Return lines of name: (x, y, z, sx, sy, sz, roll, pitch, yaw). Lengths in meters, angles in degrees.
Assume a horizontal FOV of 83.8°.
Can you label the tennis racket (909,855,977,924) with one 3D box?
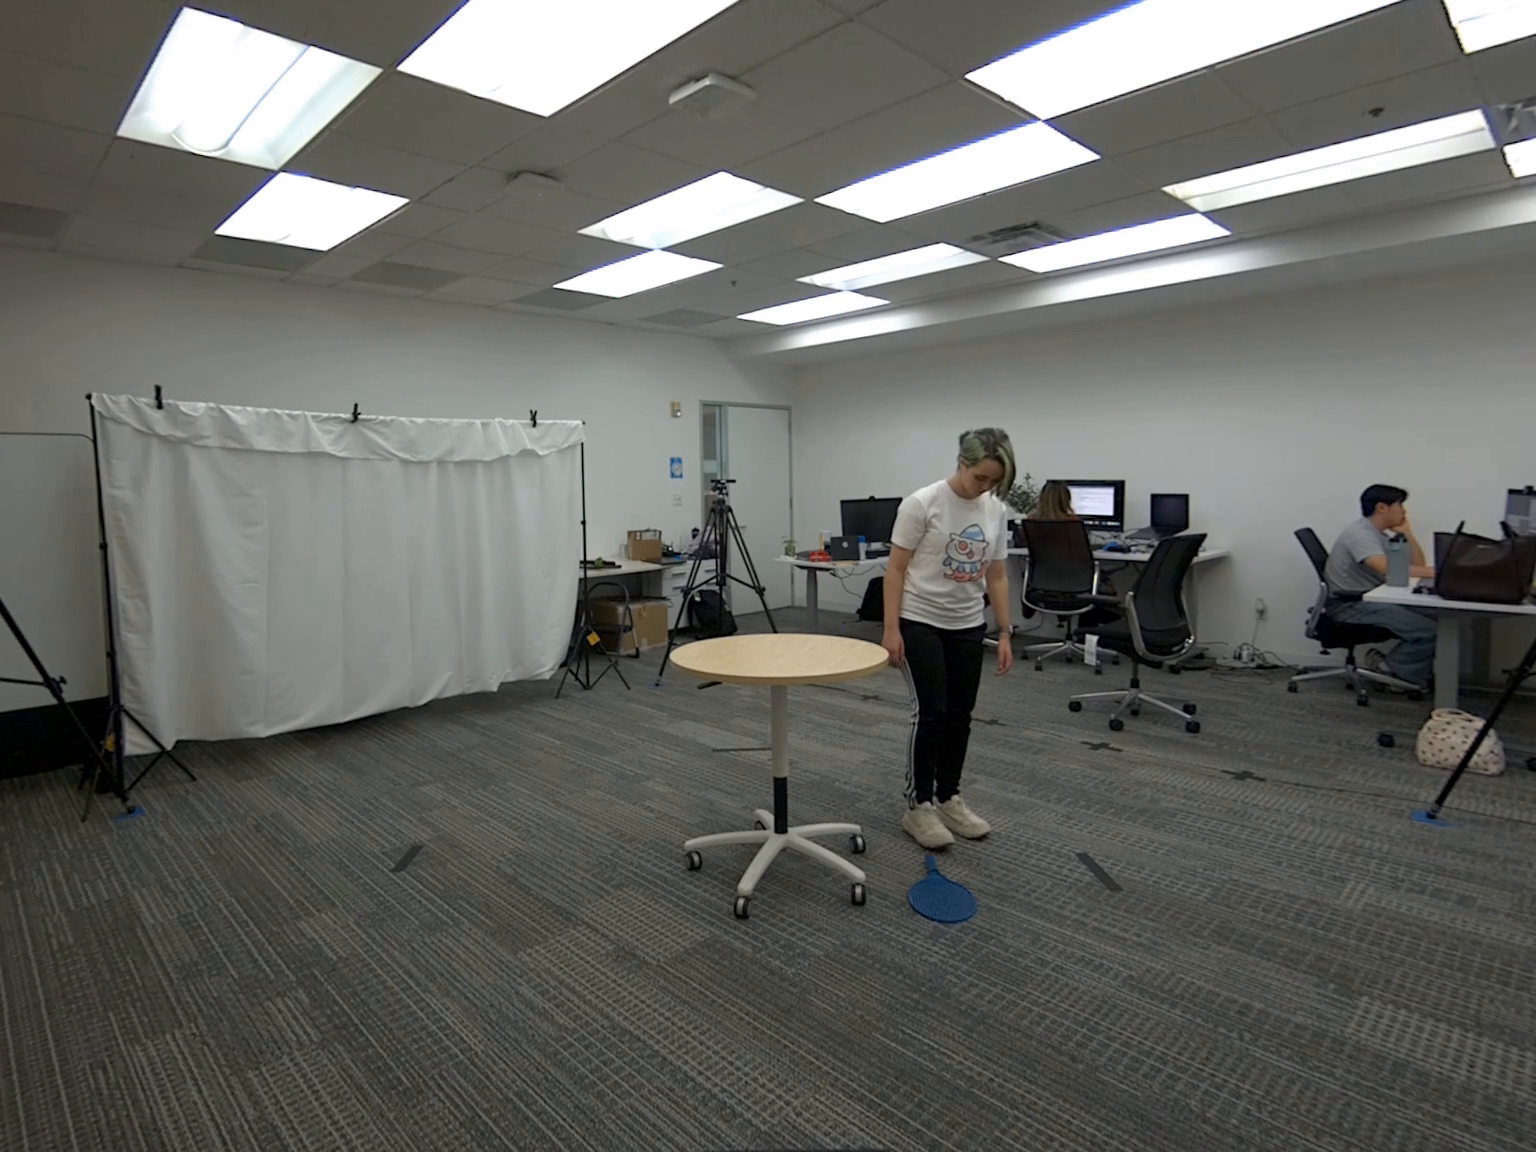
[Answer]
tennis racket: (0.570, 1.044, 2.883, 0.215, 0.031, 0.434, -1, 8, 3)
